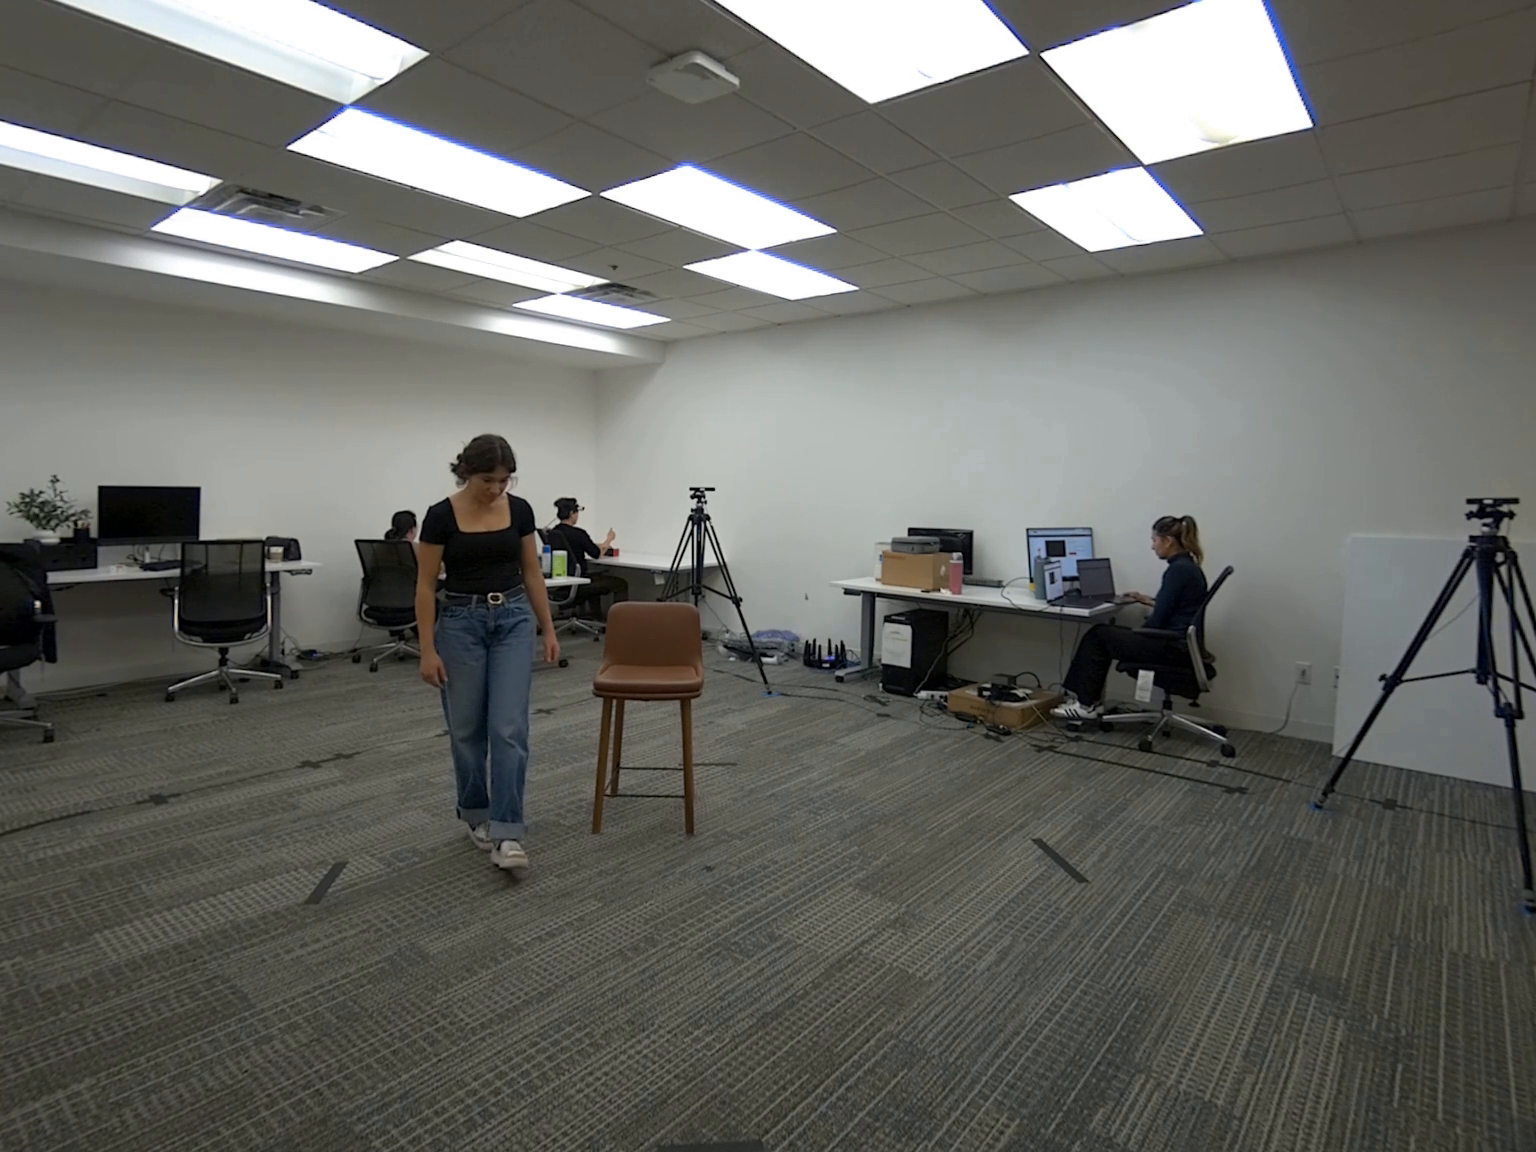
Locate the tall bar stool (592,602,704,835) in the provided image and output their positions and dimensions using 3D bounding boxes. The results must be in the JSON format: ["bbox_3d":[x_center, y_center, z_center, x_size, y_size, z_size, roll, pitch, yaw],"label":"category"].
[{"bbox_3d":[-0.516,0.575,3.610,0.457,0.889,0.468,1,1,-1],"label":"tall bar stool"}]
